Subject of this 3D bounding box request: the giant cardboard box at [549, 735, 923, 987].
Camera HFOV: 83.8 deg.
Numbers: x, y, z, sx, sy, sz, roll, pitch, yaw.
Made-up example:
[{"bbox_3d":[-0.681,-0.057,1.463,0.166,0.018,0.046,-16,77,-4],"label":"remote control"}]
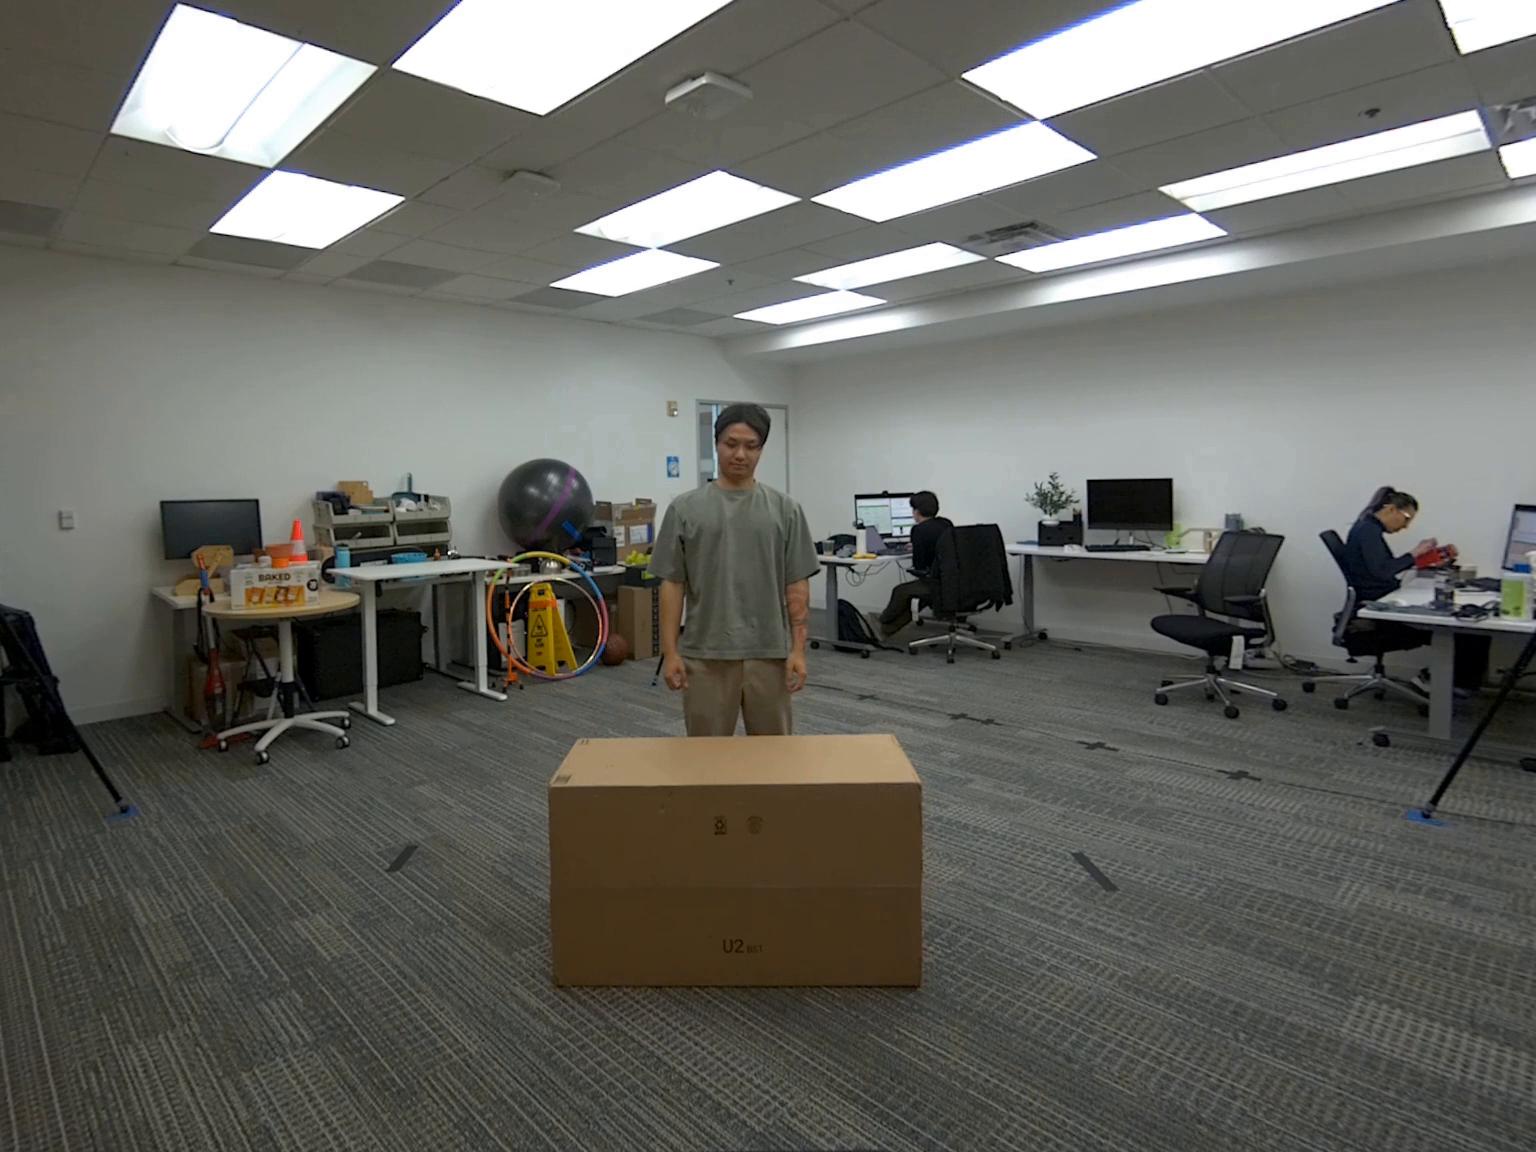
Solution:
[{"bbox_3d":[-0.094,0.817,2.541,1.027,0.576,0.427,-1,4,1],"label":"giant cardboard box"}]
